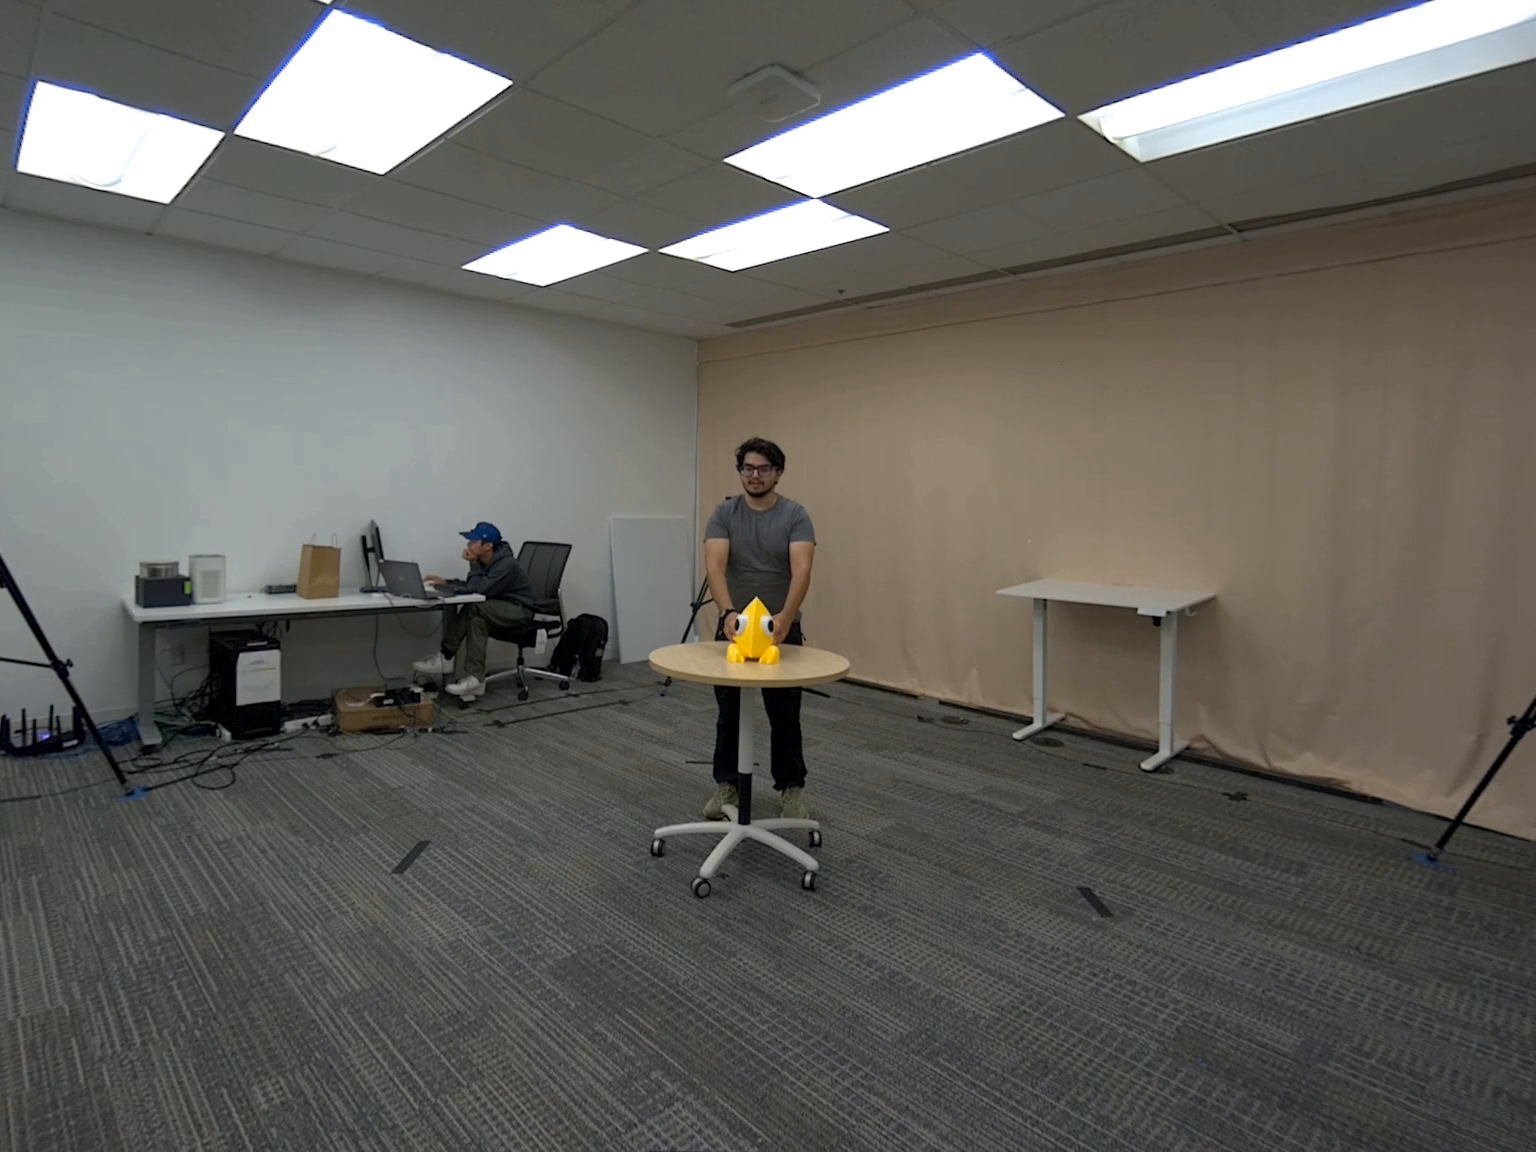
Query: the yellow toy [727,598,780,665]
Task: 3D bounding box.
[{"bbox_3d":[-0.060,0.201,3.198,0.206,0.230,0.193,2,5,5],"label":"yellow toy"}]
